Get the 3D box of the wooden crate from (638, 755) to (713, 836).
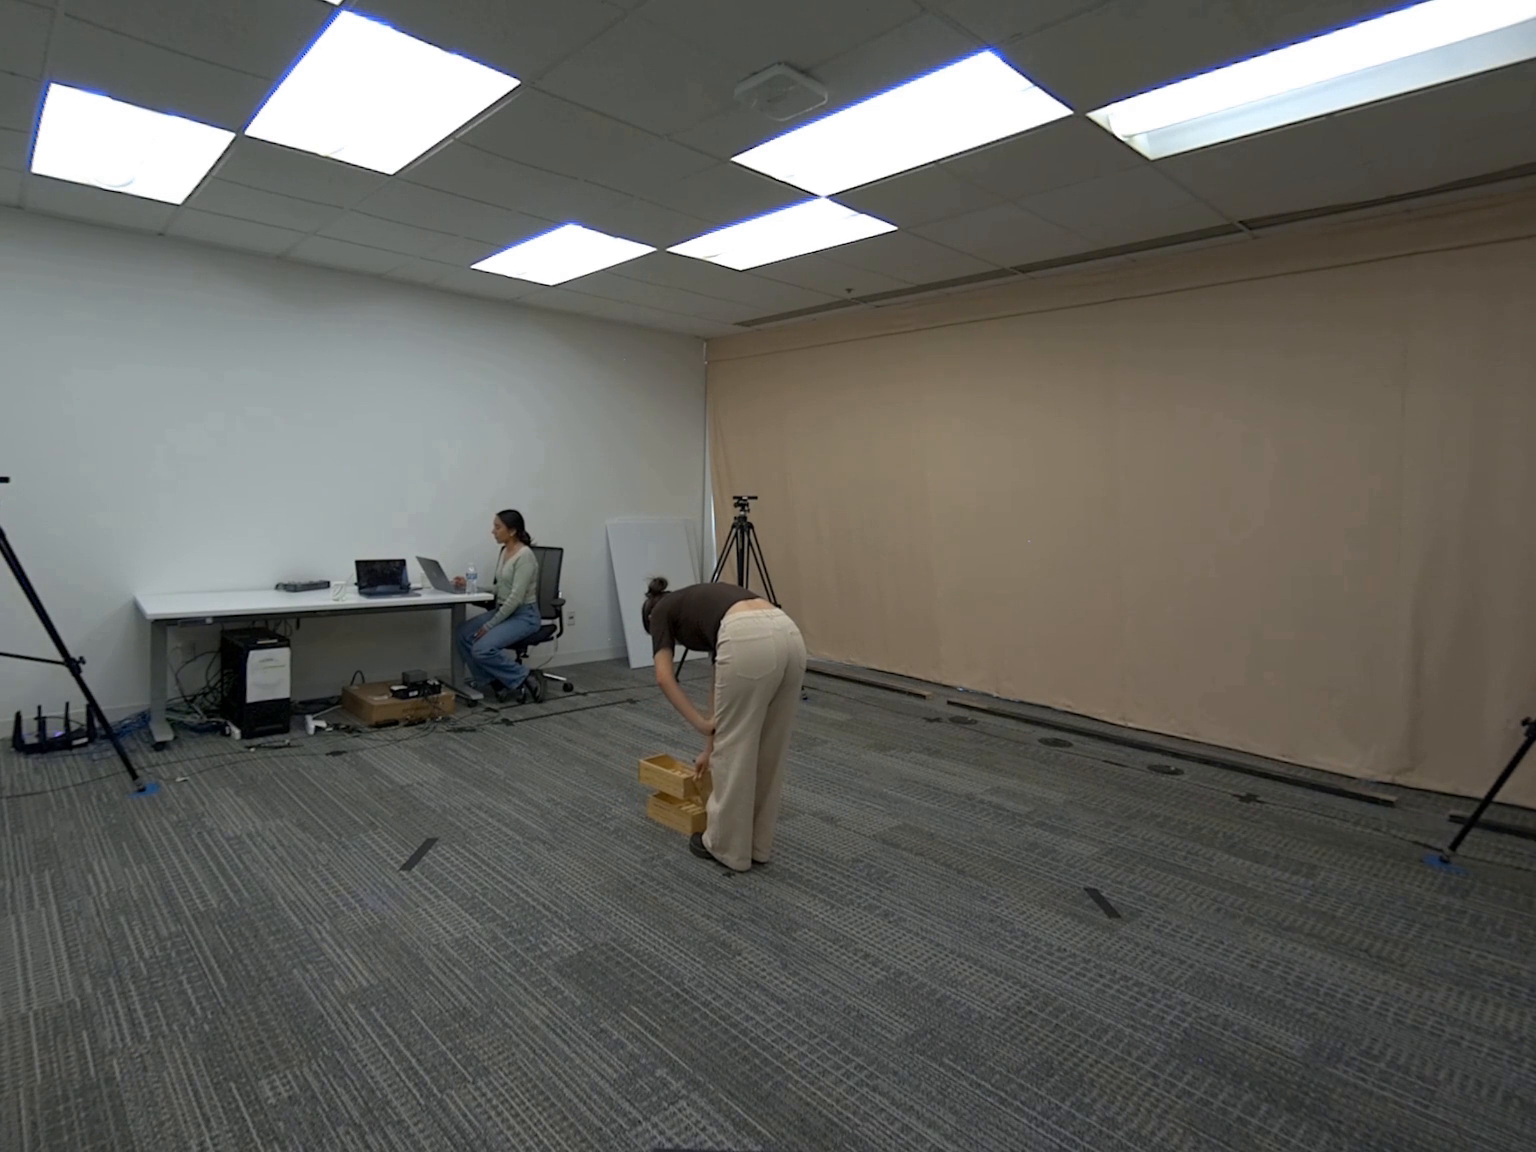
[{"bbox_3d":[-0.355,0.918,3.608,0.295,0.272,0.333,-4,7,-44],"label":"wooden crate"}]
